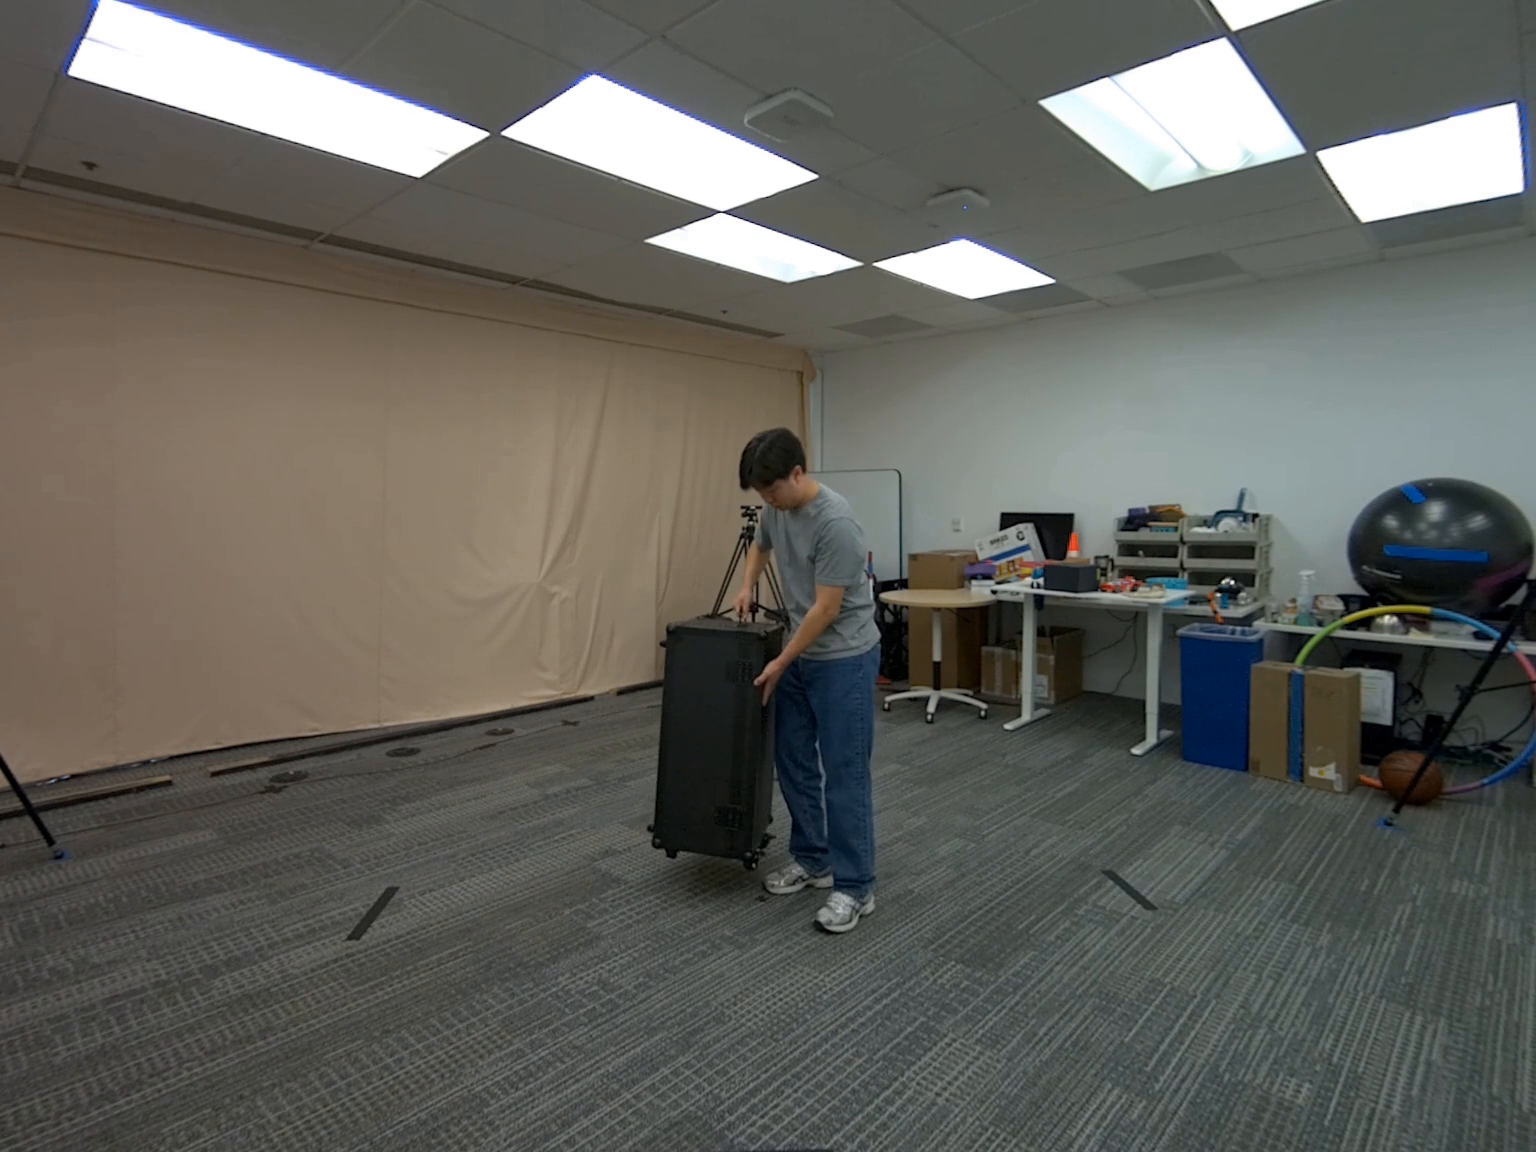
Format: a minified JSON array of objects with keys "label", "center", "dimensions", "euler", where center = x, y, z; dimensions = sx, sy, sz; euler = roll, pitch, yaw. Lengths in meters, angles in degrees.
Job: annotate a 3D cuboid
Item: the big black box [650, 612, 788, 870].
[{"label":"big black box","center":[-0.171,0.546,3.159],"dimensions":[0.401,0.862,0.515],"euler":[3,-1,9]}]
